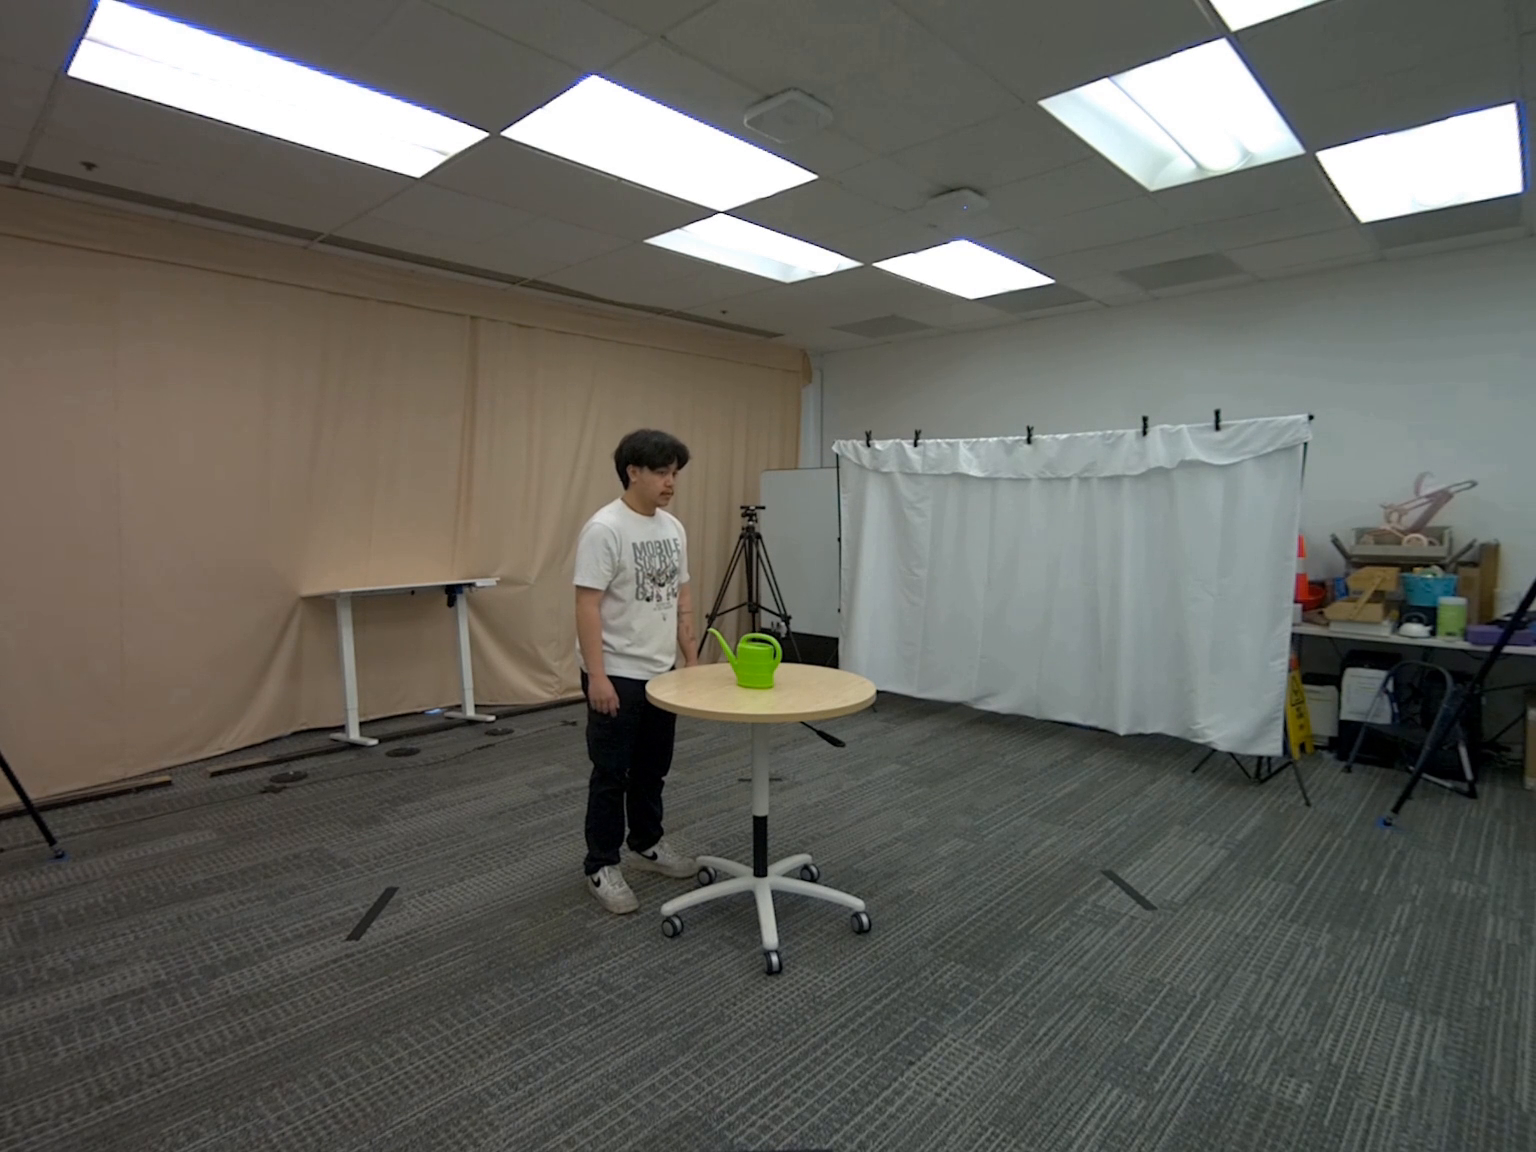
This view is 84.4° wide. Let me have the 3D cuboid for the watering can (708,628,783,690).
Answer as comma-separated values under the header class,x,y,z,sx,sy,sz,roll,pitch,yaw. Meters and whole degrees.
class,x,y,z,sx,sy,sz,roll,pitch,yaw
watering can,-0.062,0.276,2.826,0.288,0.176,0.095,6,5,40
